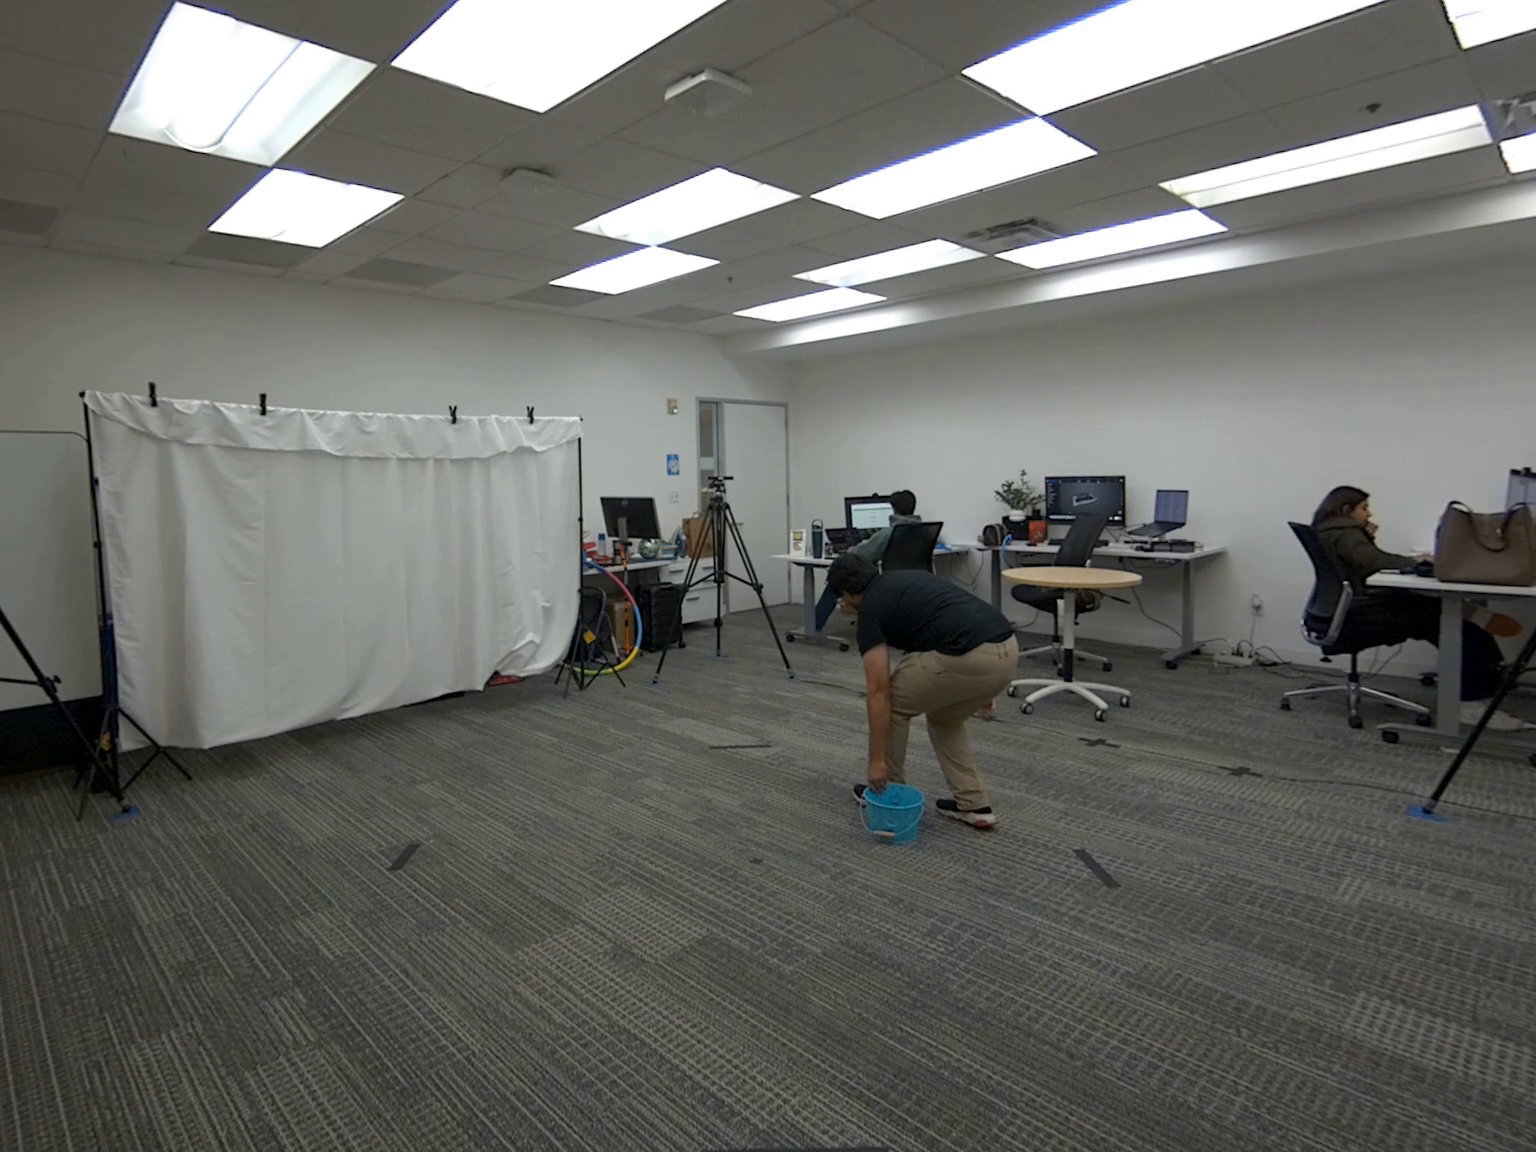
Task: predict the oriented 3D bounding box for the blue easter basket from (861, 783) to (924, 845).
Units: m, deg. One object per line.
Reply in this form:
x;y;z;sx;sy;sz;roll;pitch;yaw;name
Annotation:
0.485;0.921;3.314;0.243;0.155;0.245;0;7;-2;blue easter basket
